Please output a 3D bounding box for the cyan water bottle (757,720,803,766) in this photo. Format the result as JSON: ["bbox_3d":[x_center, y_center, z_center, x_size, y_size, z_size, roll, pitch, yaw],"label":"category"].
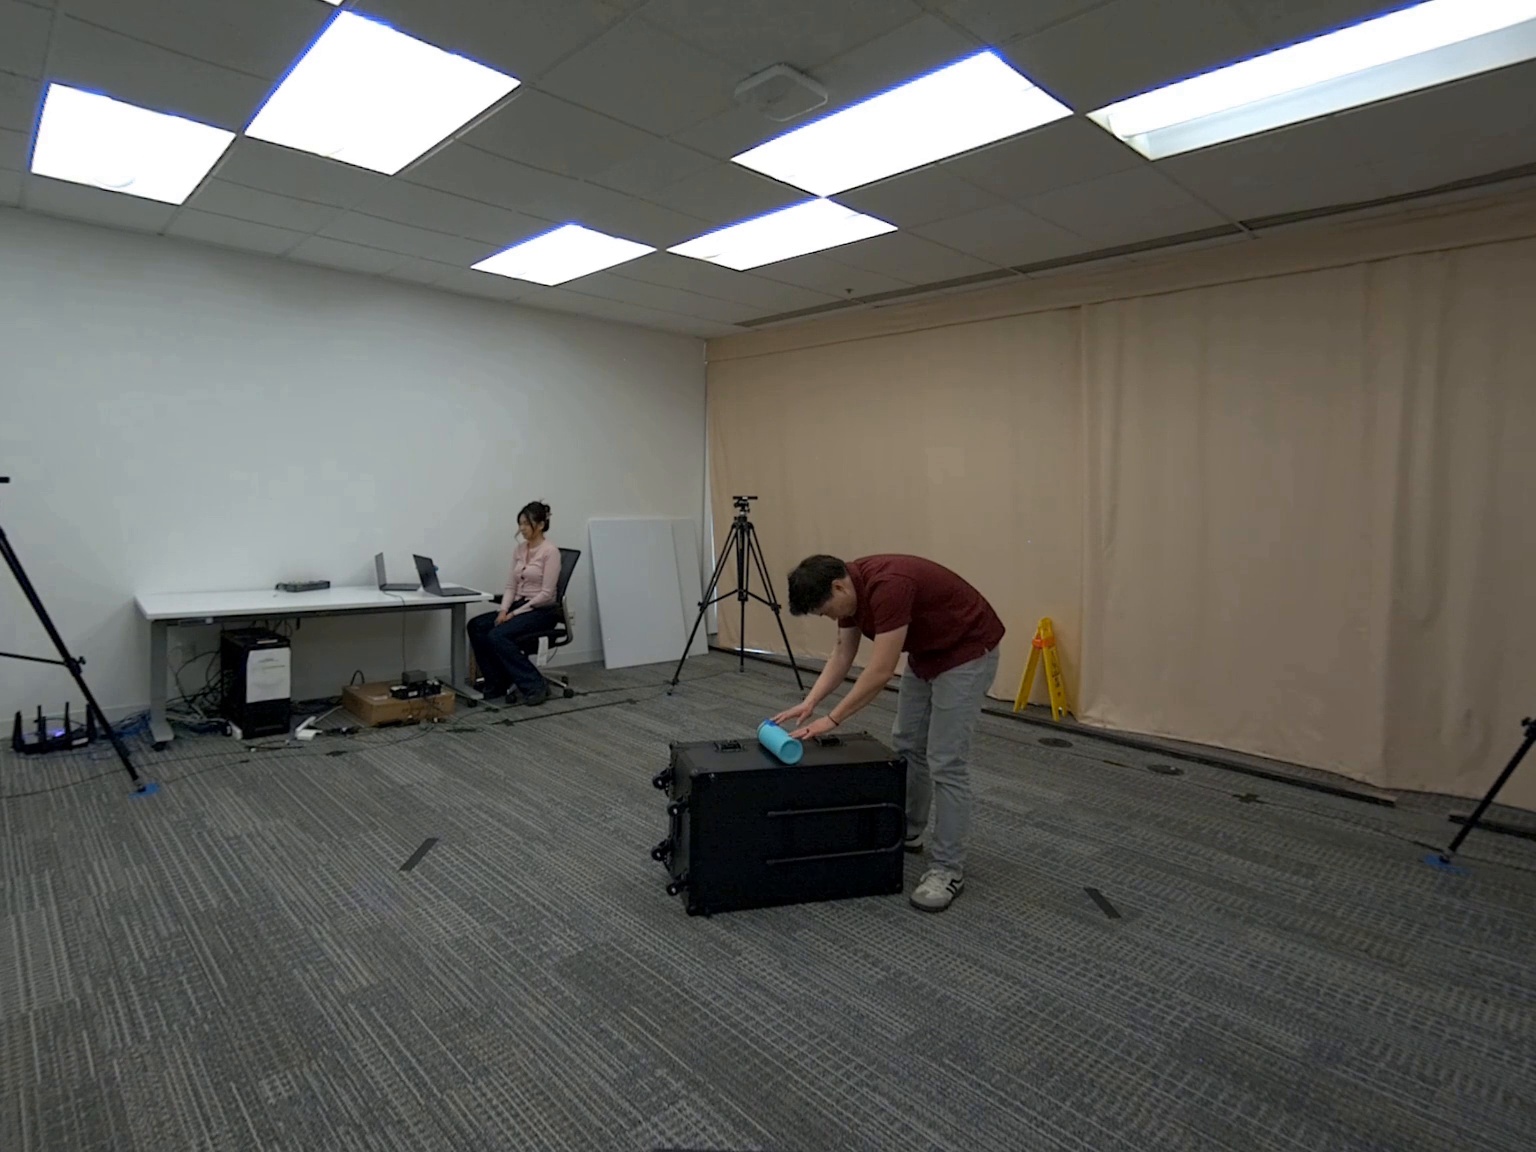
[{"bbox_3d":[0.030,0.583,3.005,0.091,0.092,0.288,0,5,-18],"label":"cyan water bottle"}]
